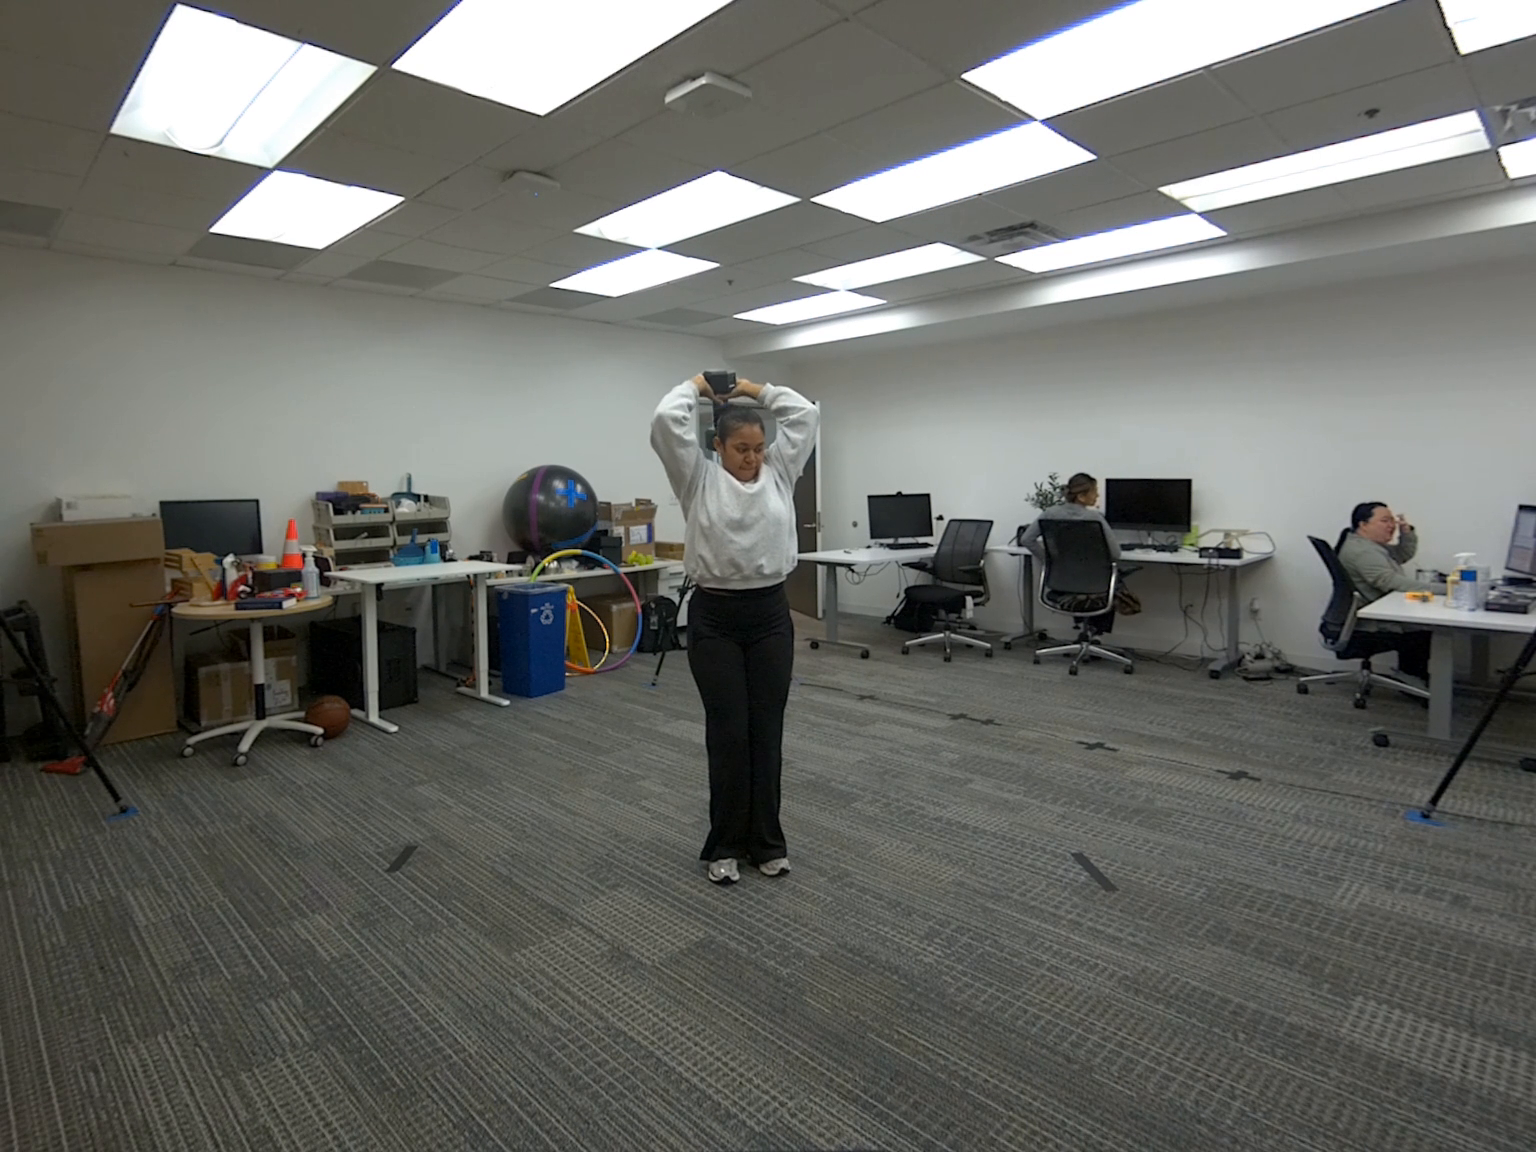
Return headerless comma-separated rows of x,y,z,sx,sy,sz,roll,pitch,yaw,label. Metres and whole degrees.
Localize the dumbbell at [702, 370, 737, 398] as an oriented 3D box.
-0.163,-0.613,3.132,0.112,0.289,0.121,7,18,28,dumbbell
